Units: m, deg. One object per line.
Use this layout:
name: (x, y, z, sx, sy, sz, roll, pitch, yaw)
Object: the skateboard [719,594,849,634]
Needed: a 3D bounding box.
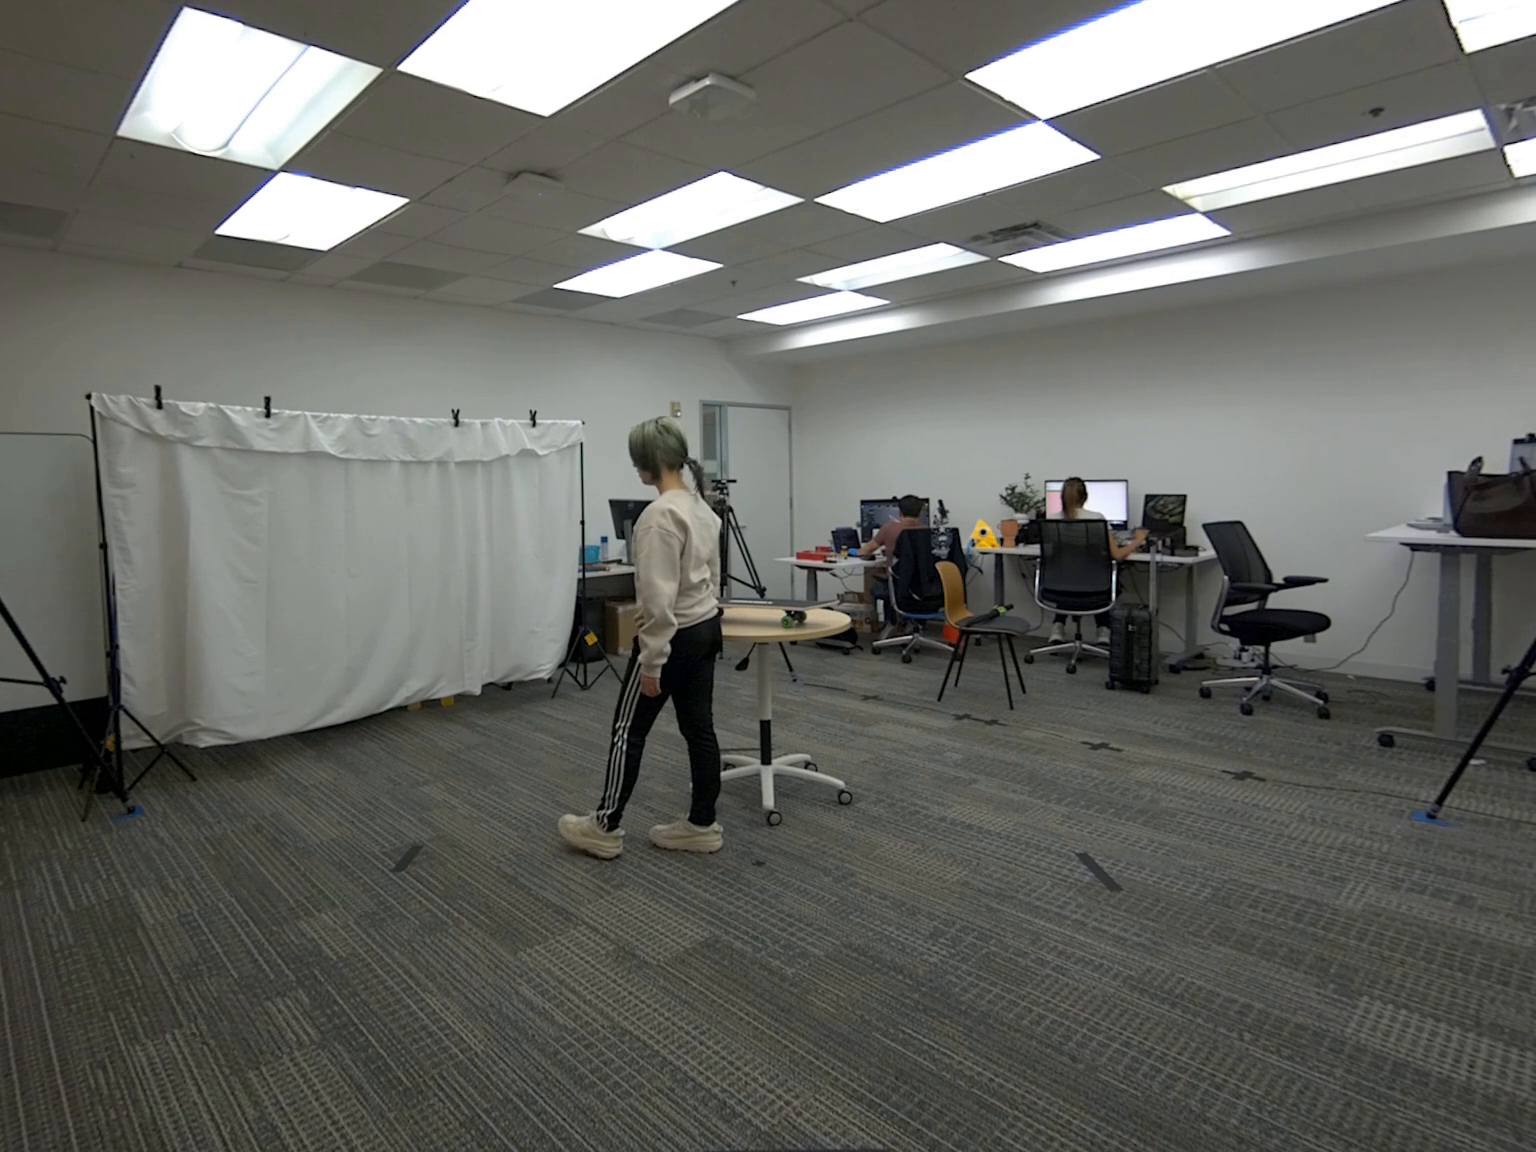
skateboard: (-0.065, 0.151, 3.677, 0.804, 0.110, 0.190, 2, 8, 26)
